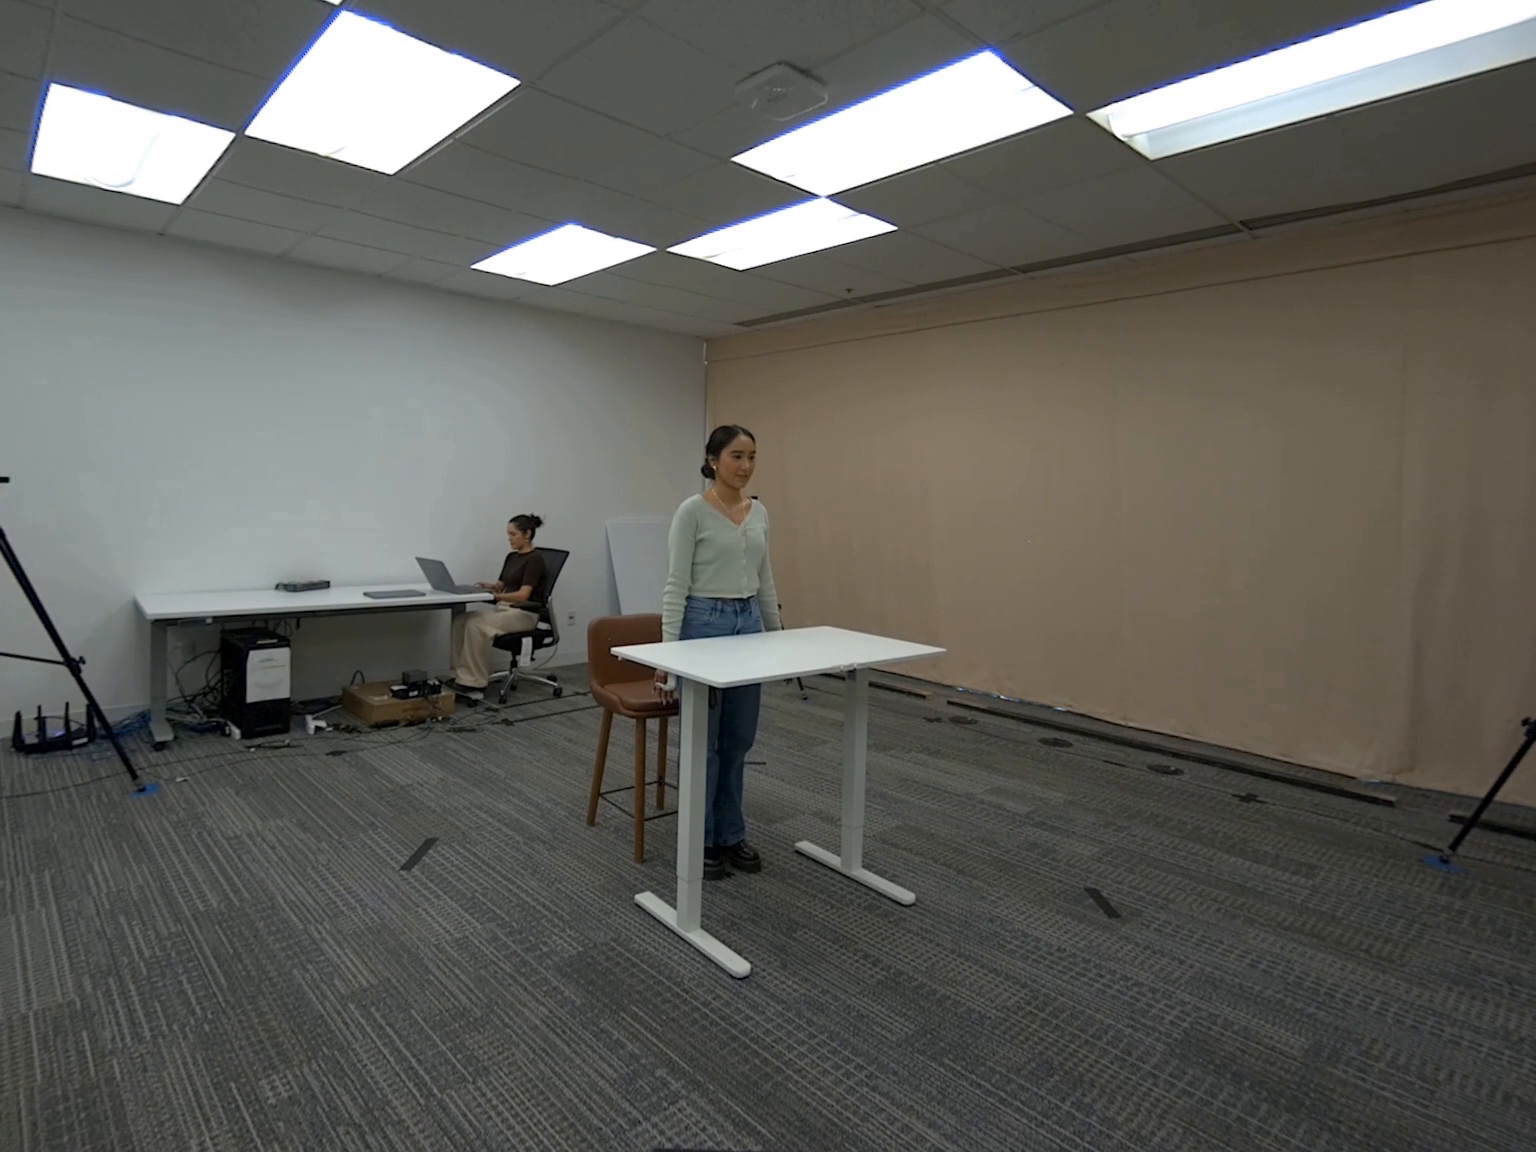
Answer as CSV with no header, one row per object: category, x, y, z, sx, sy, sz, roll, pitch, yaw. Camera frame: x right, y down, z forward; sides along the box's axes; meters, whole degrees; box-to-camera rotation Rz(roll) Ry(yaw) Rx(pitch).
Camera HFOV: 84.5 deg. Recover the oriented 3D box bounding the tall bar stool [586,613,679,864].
tall bar stool,-0.482,0.624,3.461,0.446,0.889,0.479,-1,2,-37
